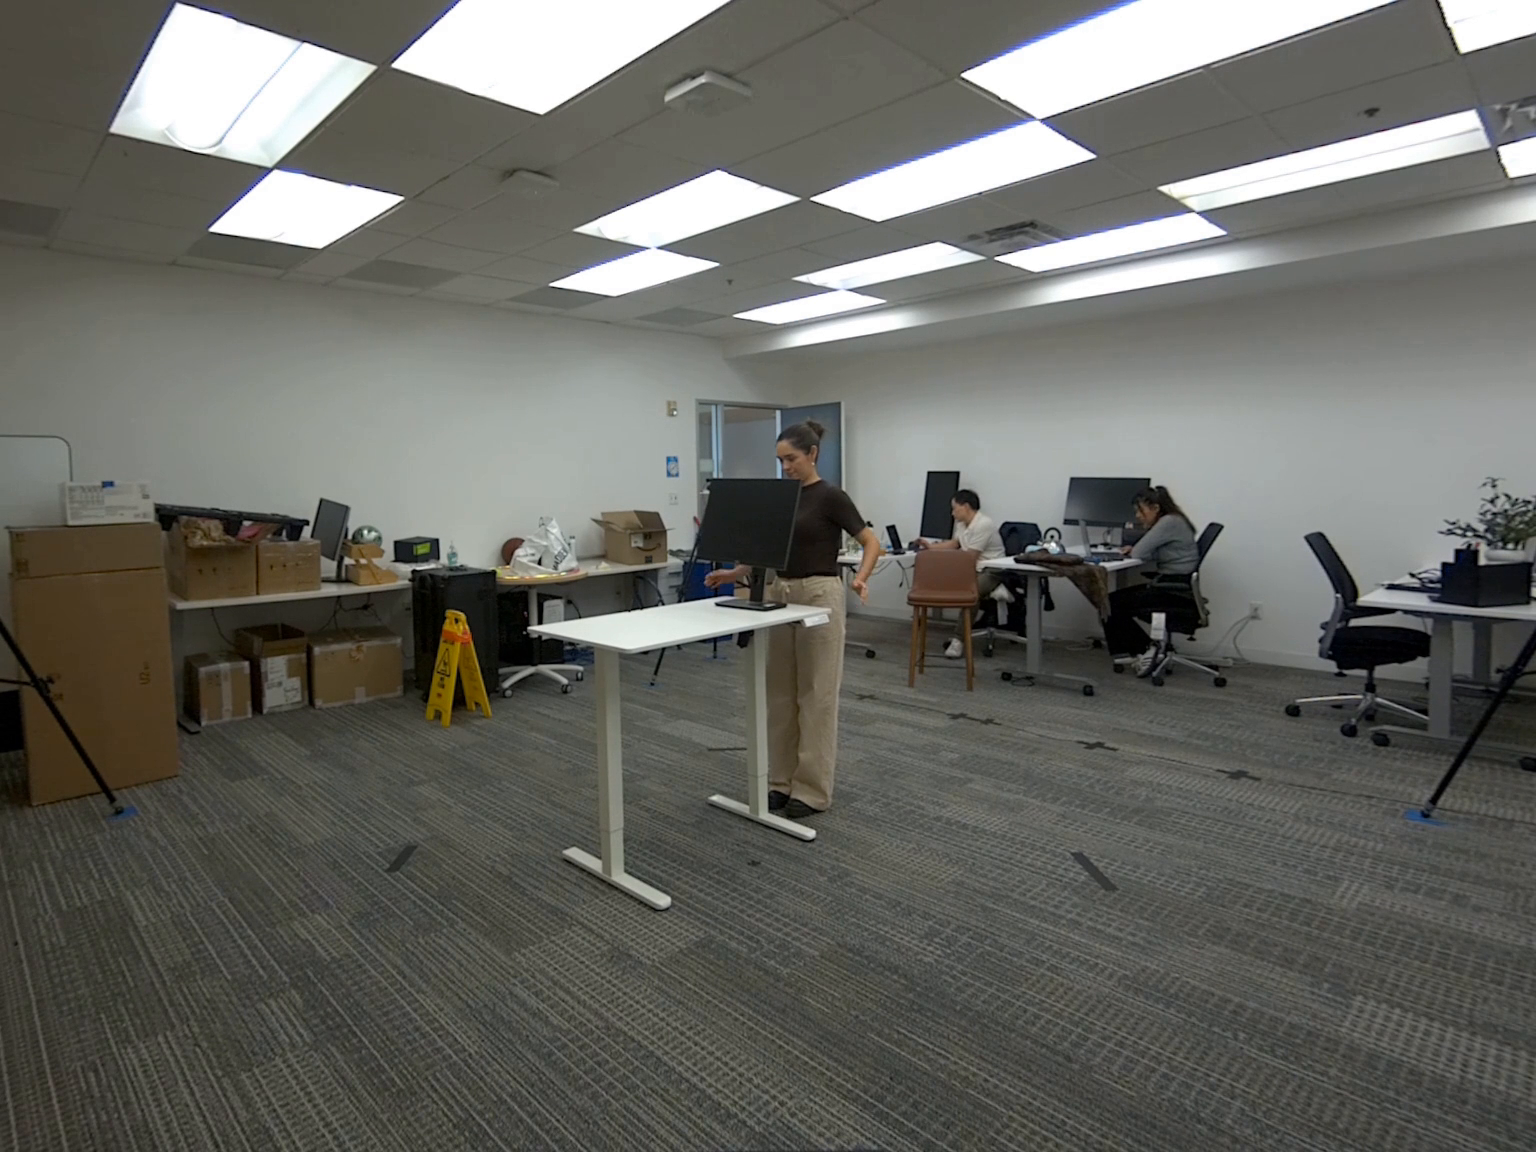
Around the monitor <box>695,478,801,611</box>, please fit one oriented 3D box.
[{"bbox_3d":[-0.066,-0.131,3.439,0.182,0.521,0.556,-2,6,-43],"label":"monitor"}]
